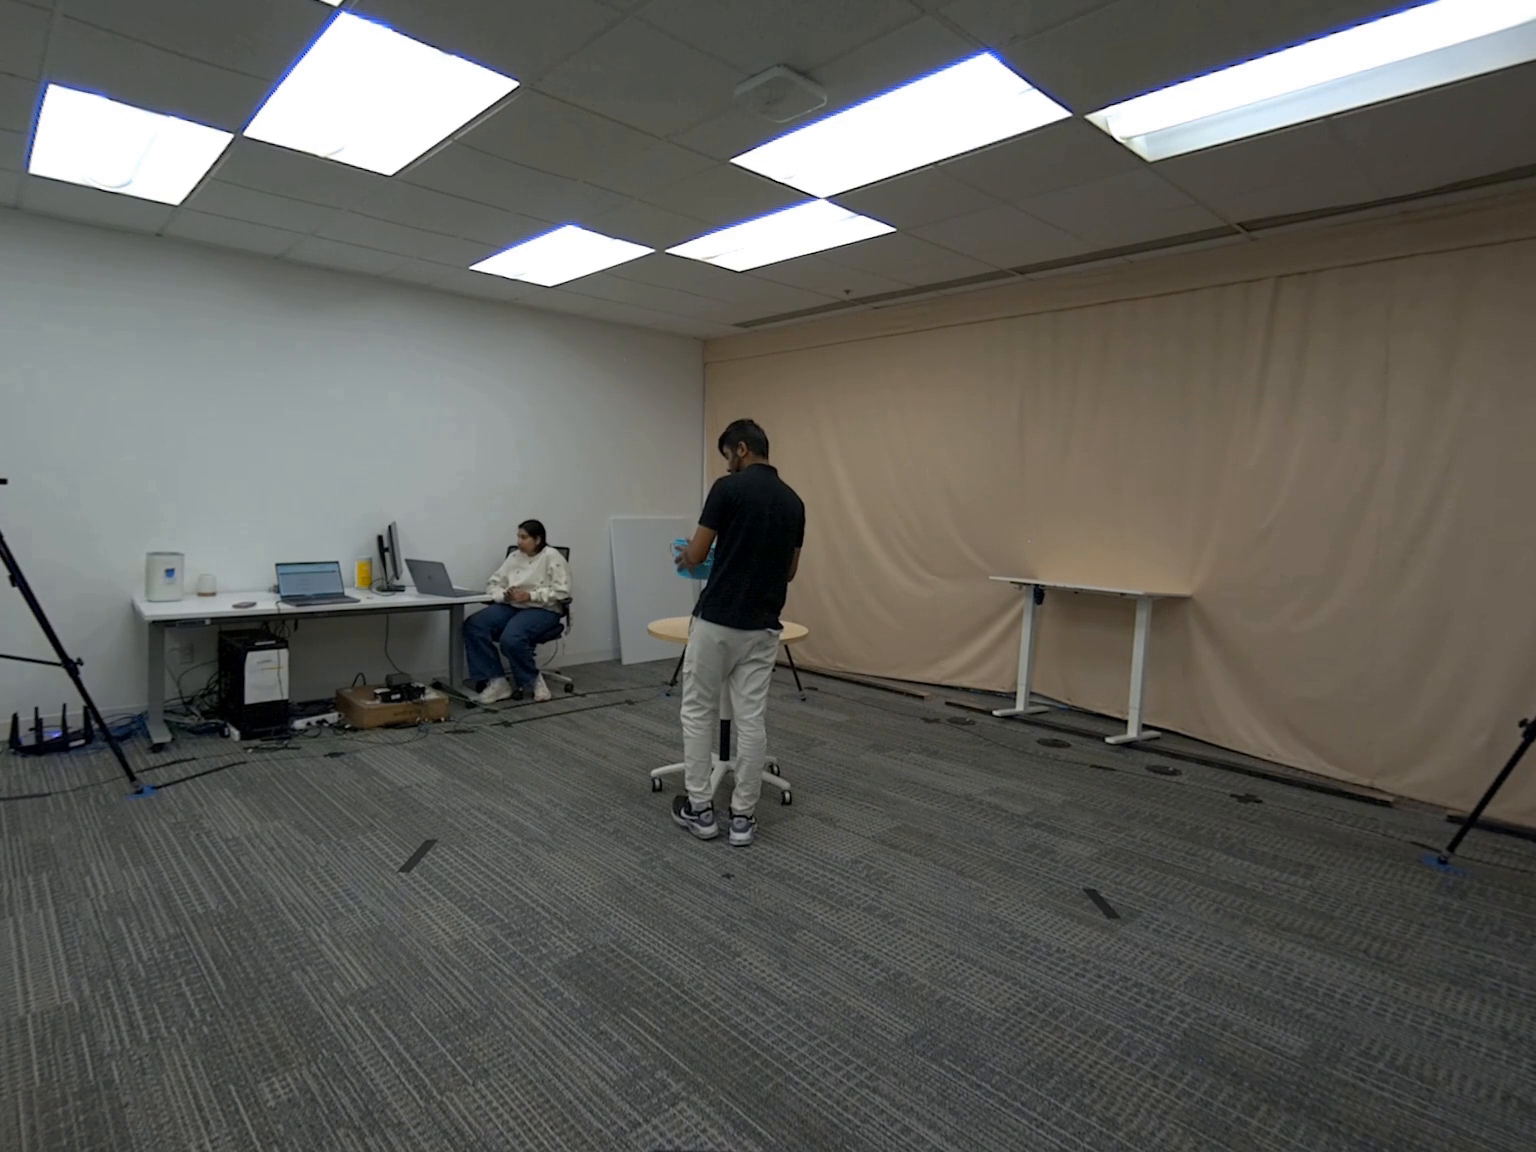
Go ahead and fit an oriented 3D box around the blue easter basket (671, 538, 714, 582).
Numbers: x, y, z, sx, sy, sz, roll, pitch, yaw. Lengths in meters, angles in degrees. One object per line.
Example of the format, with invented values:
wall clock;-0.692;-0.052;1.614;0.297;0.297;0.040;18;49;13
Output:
blue easter basket;-0.313;-0.072;3.822;0.243;0.155;0.245;6;9;-2
